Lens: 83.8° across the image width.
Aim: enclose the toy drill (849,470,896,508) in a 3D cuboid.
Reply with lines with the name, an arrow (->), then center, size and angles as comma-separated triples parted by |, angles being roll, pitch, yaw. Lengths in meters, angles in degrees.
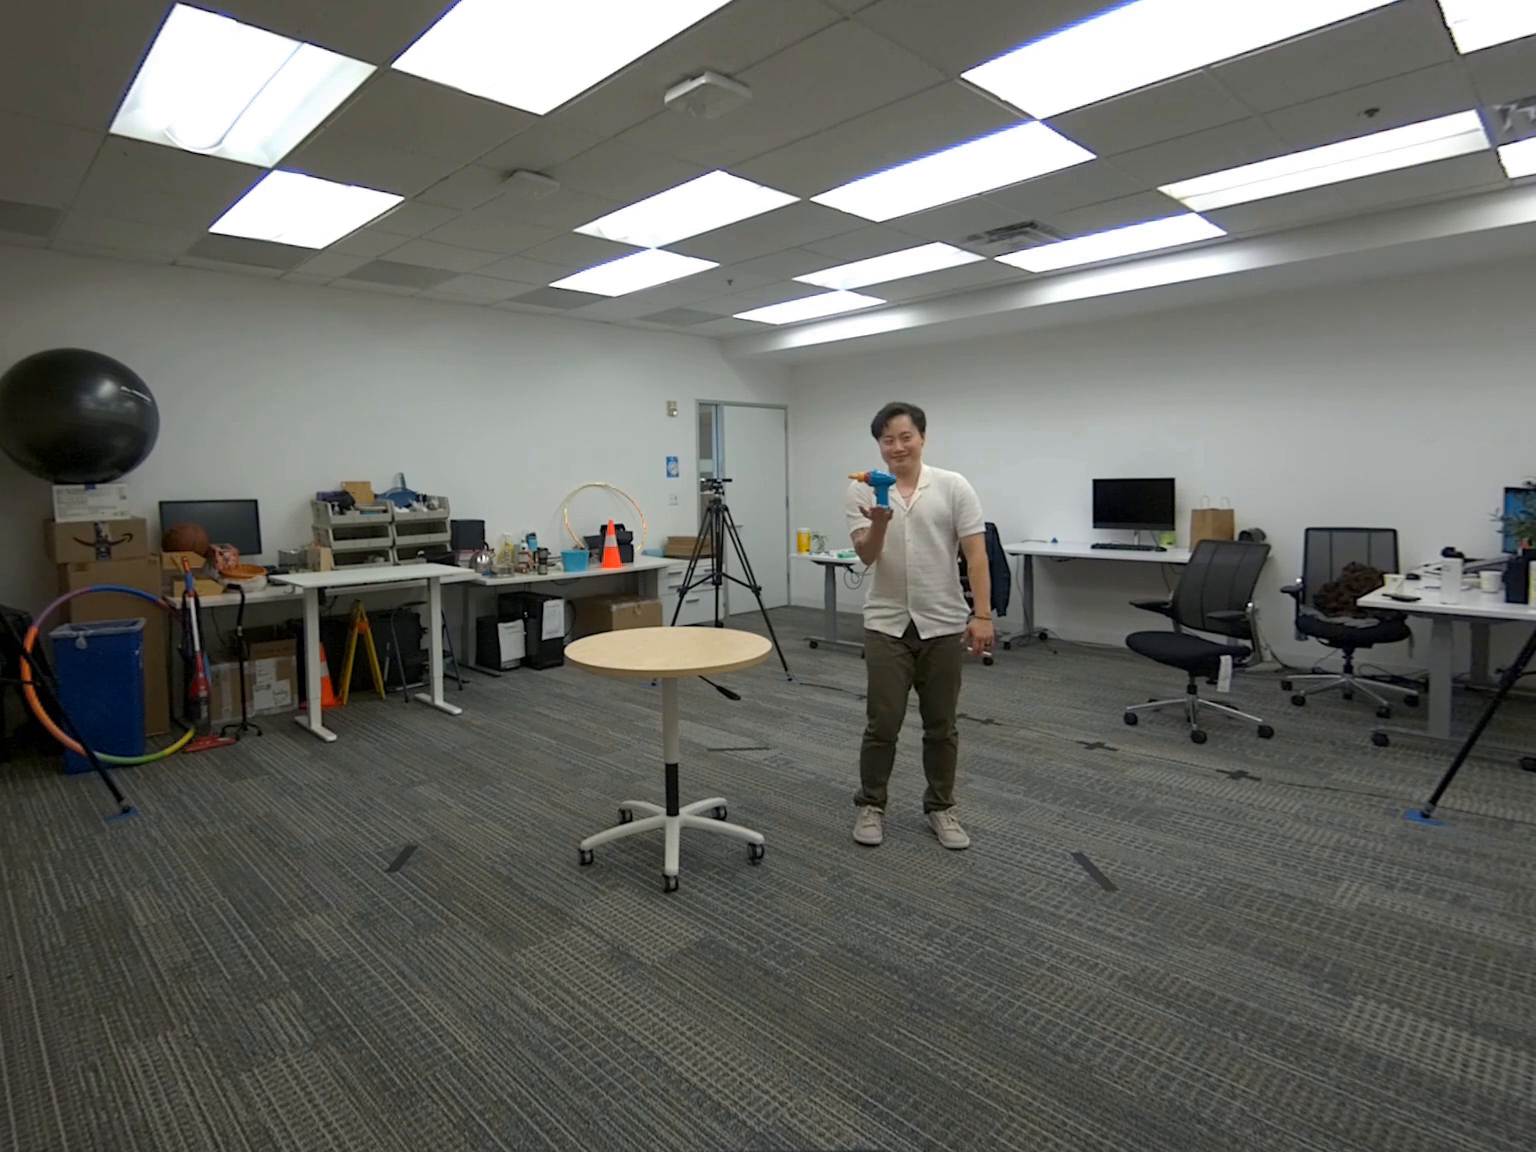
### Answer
toy drill -> 0.356, -0.302, 2.957 | 0.170, 0.145, 0.061 | 5, 6, 1
